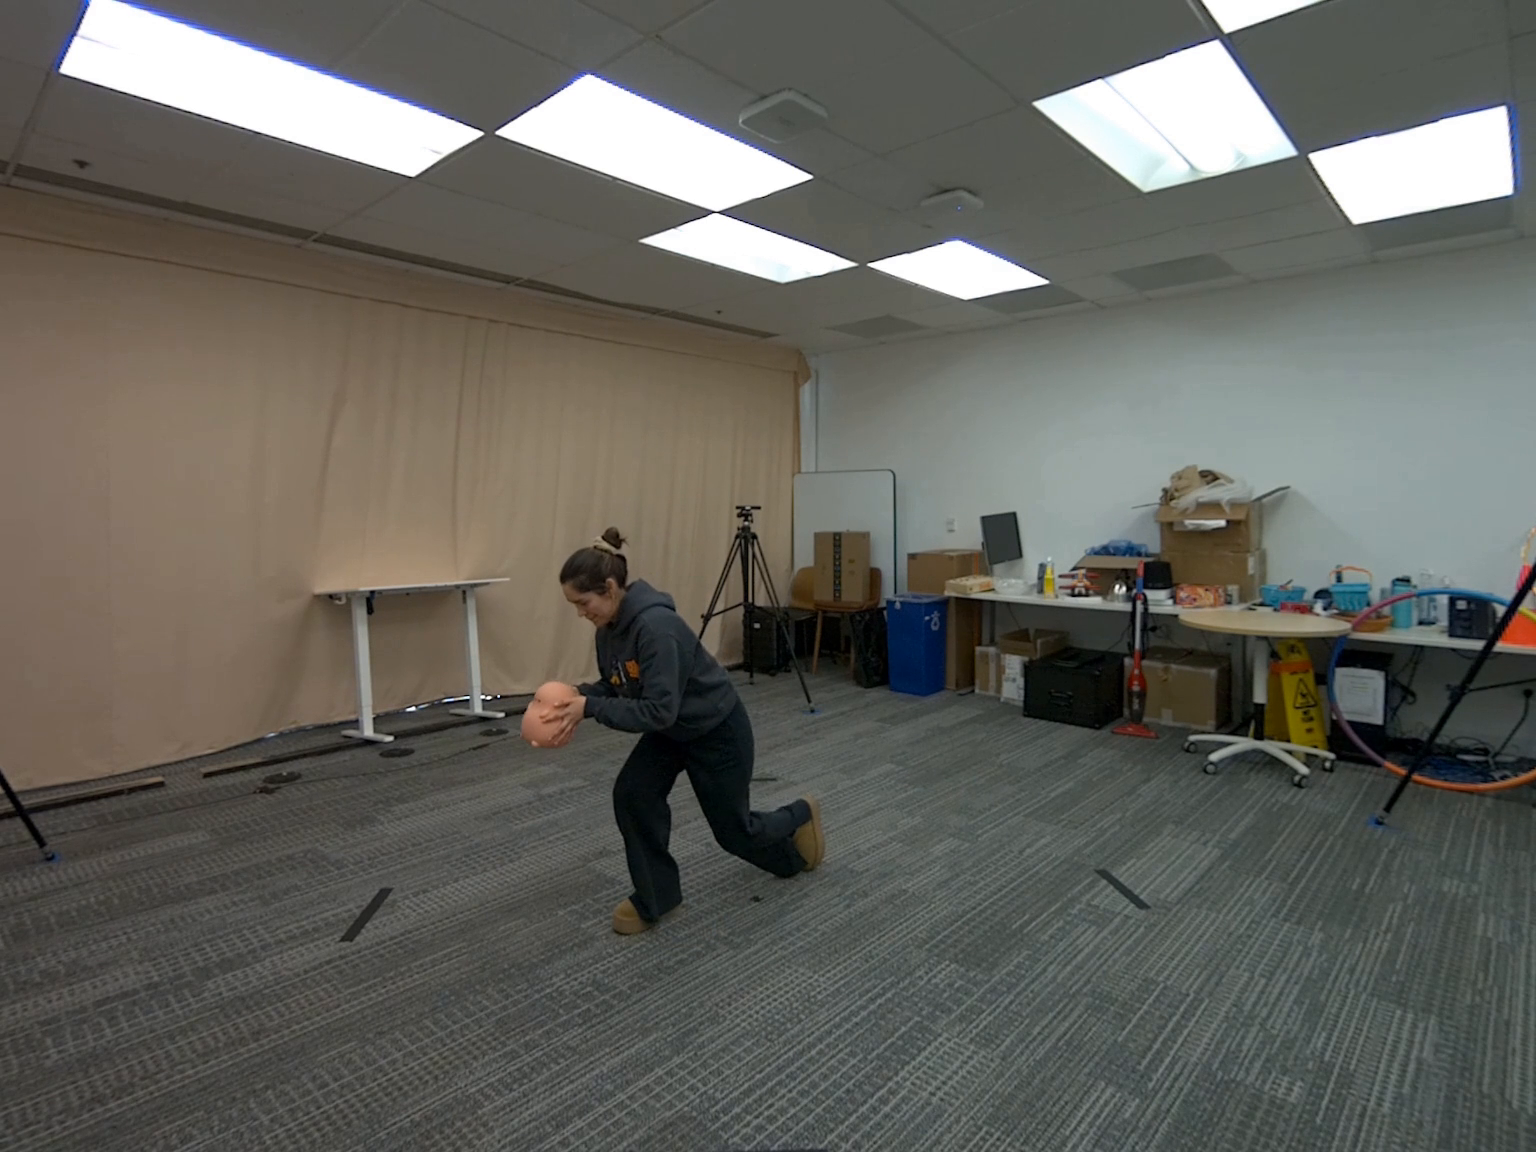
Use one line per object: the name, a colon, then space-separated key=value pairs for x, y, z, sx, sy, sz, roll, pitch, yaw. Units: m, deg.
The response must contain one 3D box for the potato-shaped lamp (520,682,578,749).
potato-shaped lamp: x=-0.666 y=0.434 z=2.643 sx=0.166 sy=0.198 sz=0.170 roll=8 pitch=0 yaw=-34
